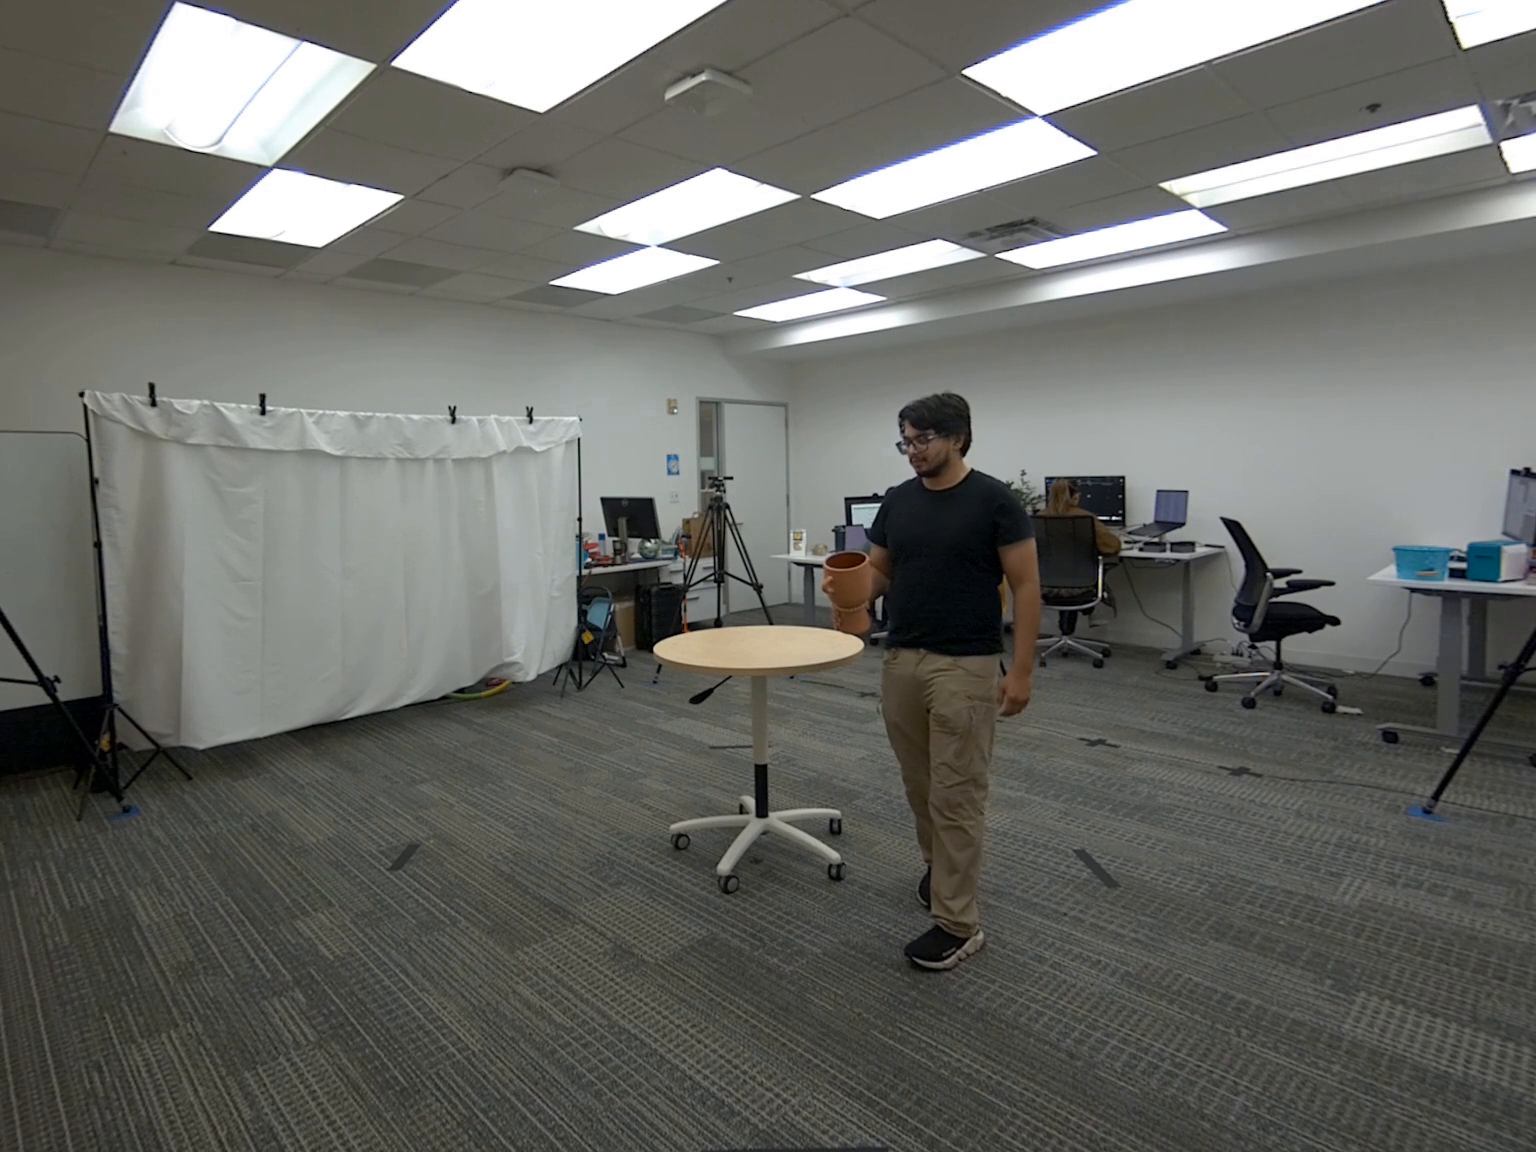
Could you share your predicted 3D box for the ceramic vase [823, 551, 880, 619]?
[{"bbox_3d":[0.232,0.052,2.503,0.159,0.214,0.137,-8,25,3],"label":"ceramic vase"}]
